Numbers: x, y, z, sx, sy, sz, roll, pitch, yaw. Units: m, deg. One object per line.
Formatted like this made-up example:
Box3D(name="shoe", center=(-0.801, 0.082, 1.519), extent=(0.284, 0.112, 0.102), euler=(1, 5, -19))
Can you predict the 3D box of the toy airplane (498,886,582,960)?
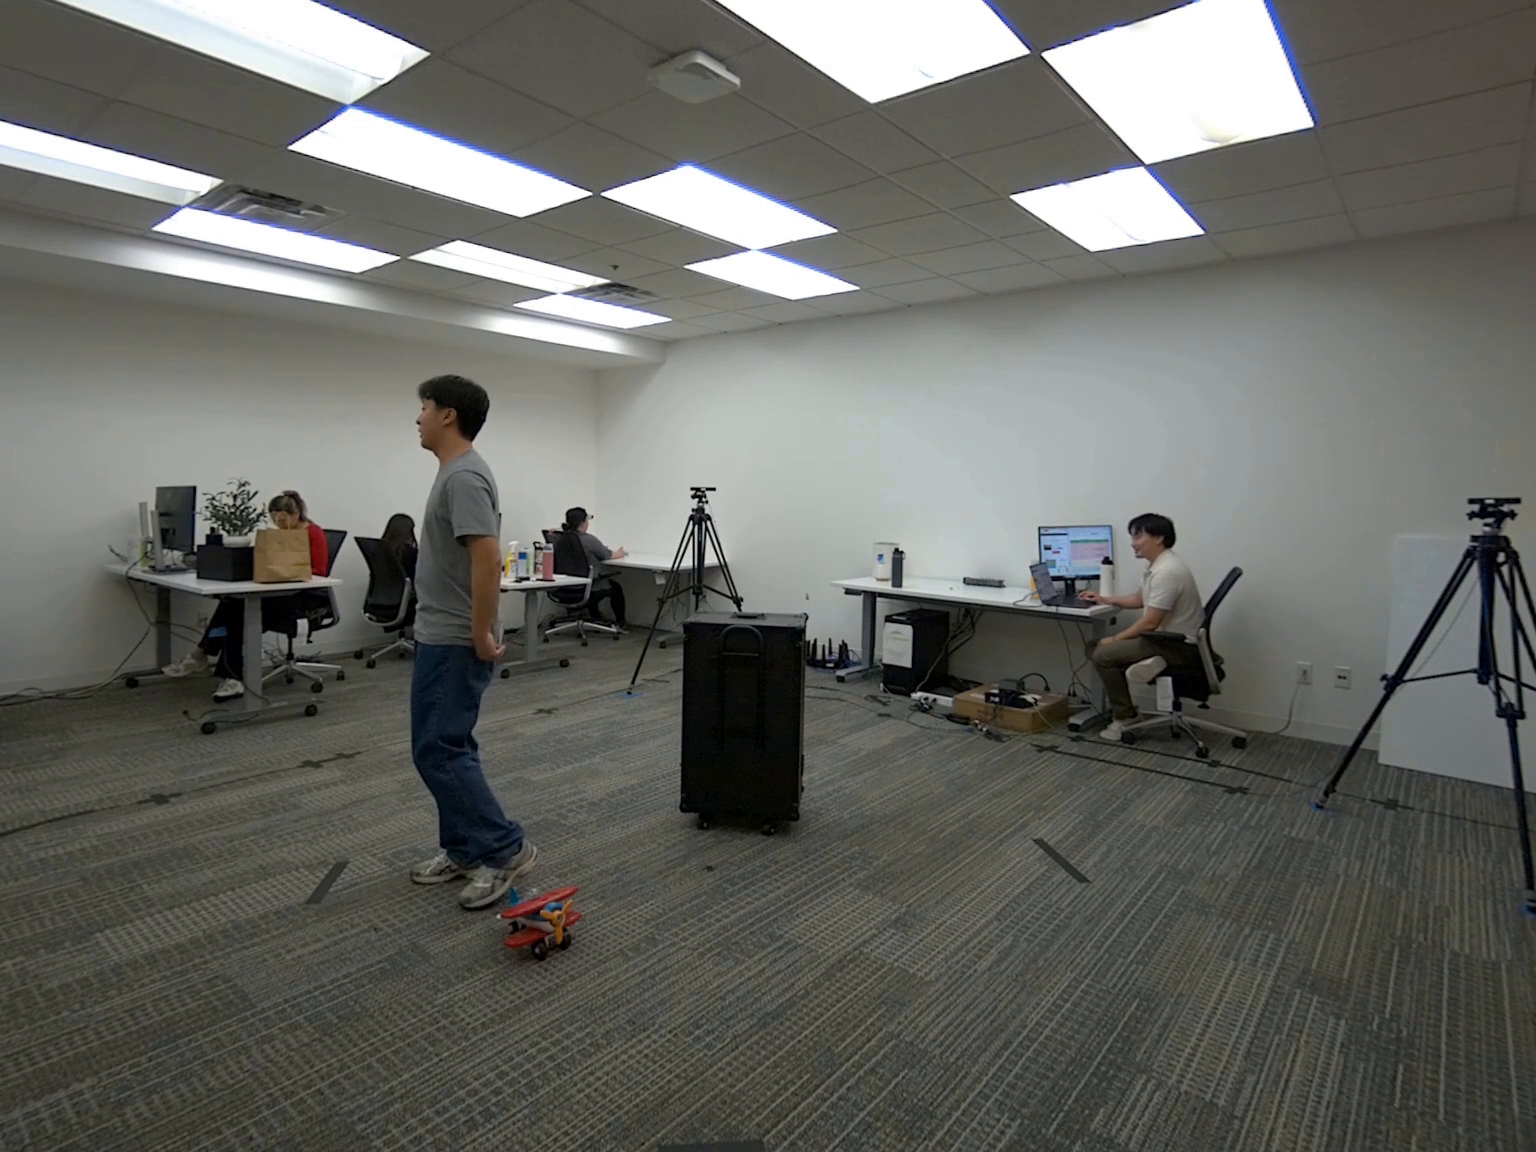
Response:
Box3D(name="toy airplane", center=(-0.726, 1.038, 2.566), extent=(0.263, 0.156, 0.248), euler=(4, 5, 14))
